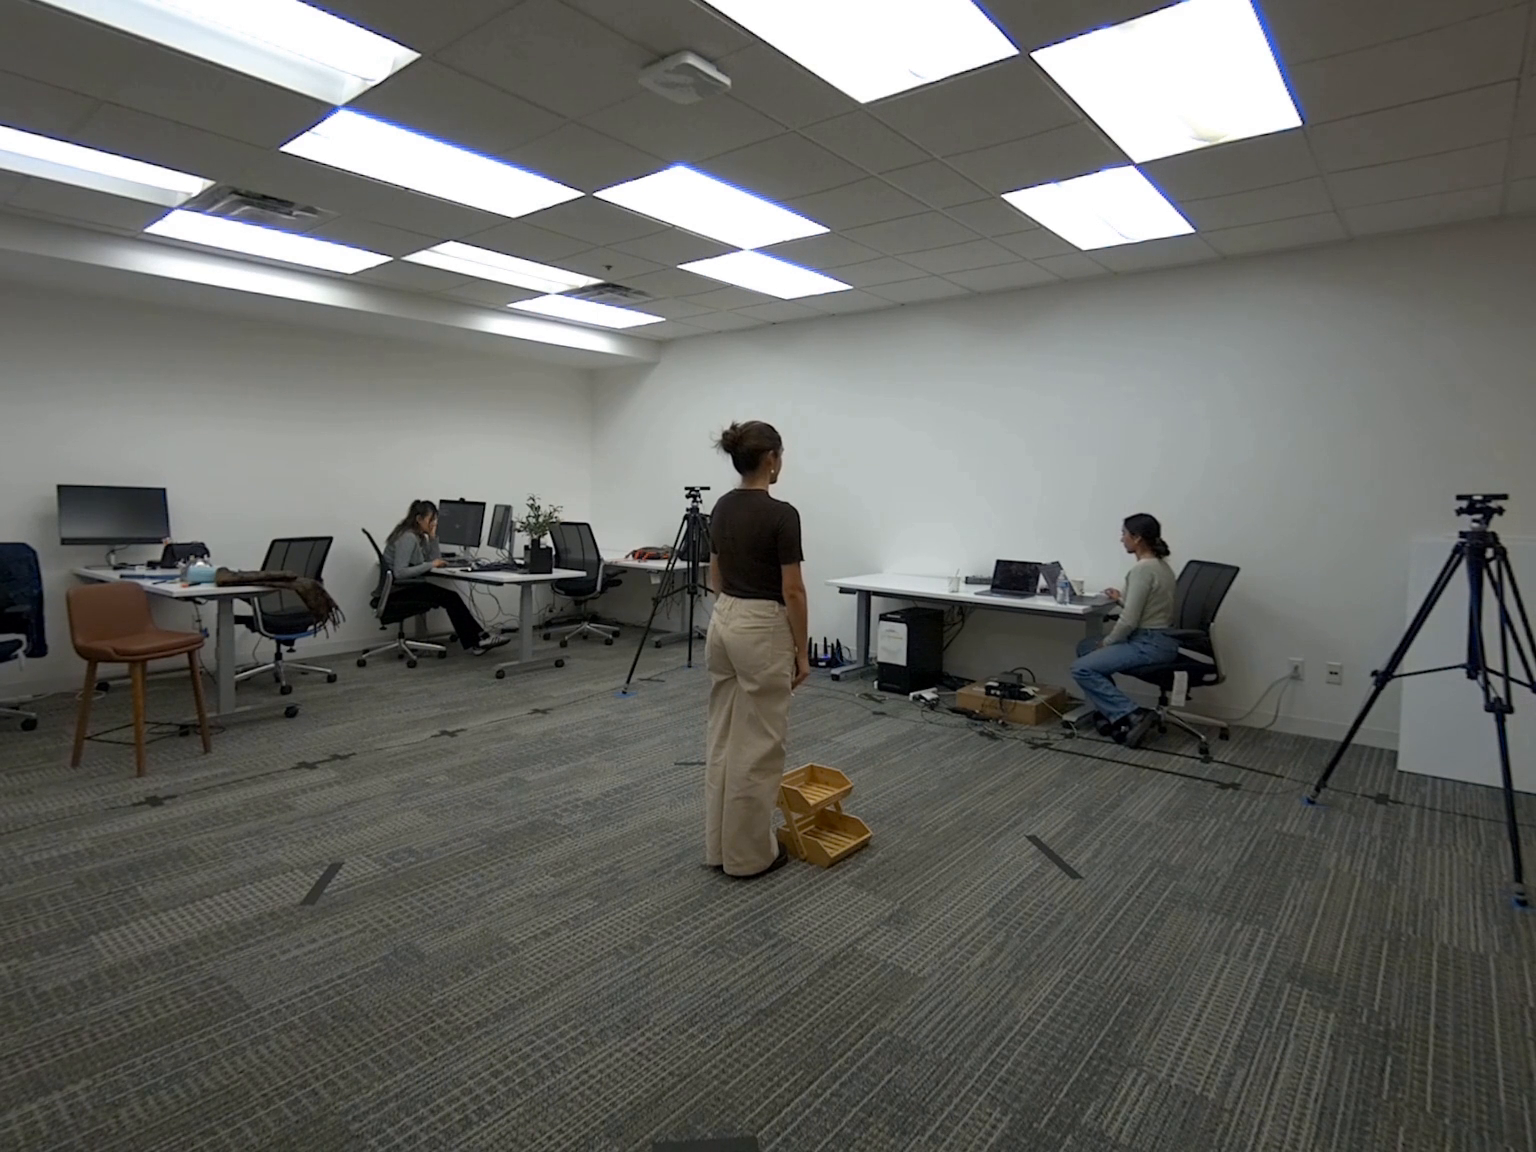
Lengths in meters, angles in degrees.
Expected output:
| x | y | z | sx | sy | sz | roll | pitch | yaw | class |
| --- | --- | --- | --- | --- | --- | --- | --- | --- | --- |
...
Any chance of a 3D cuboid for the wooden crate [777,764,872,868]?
| x | y | z | sx | sy | sz | roll | pitch | yaw | class |
| --- | --- | --- | --- | --- | --- | --- | --- | --- | --- |
| 0.195 | 0.916 | 3.313 | 0.312 | 0.272 | 0.315 | 3 | 5 | 39 | wooden crate |
